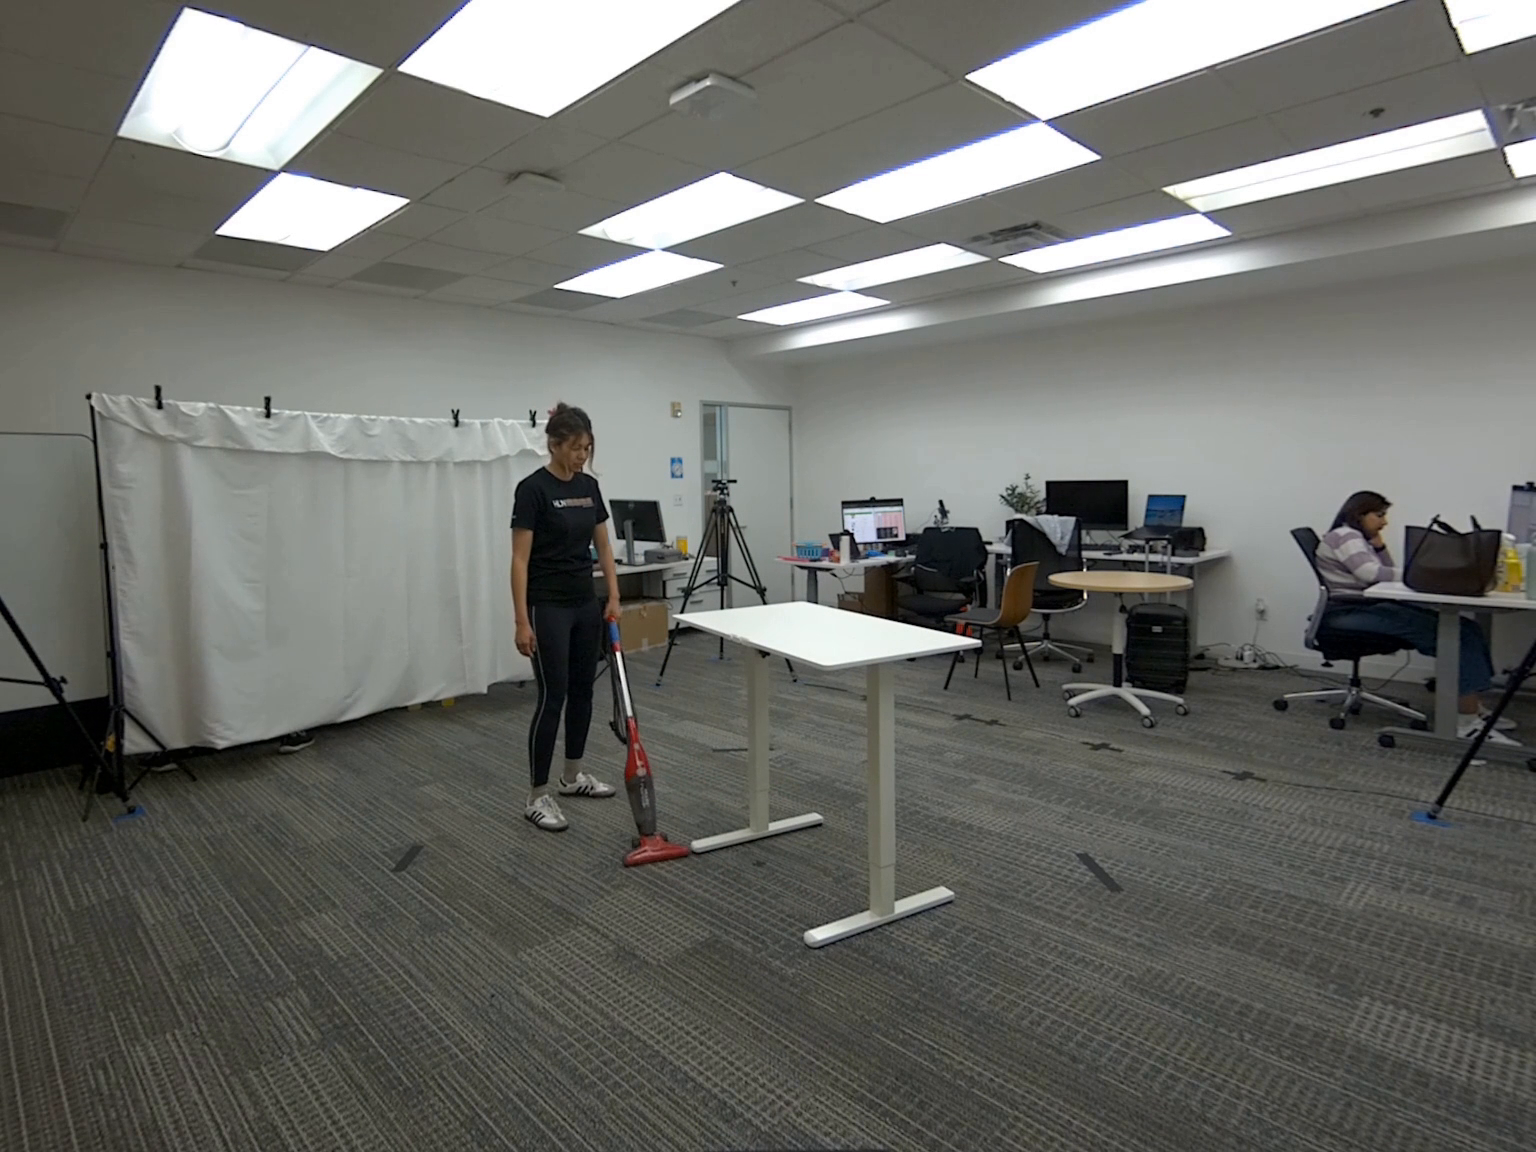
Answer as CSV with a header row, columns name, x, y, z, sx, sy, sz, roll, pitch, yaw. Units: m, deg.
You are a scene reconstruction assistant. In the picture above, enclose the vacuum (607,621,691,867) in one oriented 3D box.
name,x,y,z,sx,sy,sz,roll,pitch,yaw
vacuum,-0.565,0.612,3.478,0.249,1.083,0.141,-7,-34,-19
